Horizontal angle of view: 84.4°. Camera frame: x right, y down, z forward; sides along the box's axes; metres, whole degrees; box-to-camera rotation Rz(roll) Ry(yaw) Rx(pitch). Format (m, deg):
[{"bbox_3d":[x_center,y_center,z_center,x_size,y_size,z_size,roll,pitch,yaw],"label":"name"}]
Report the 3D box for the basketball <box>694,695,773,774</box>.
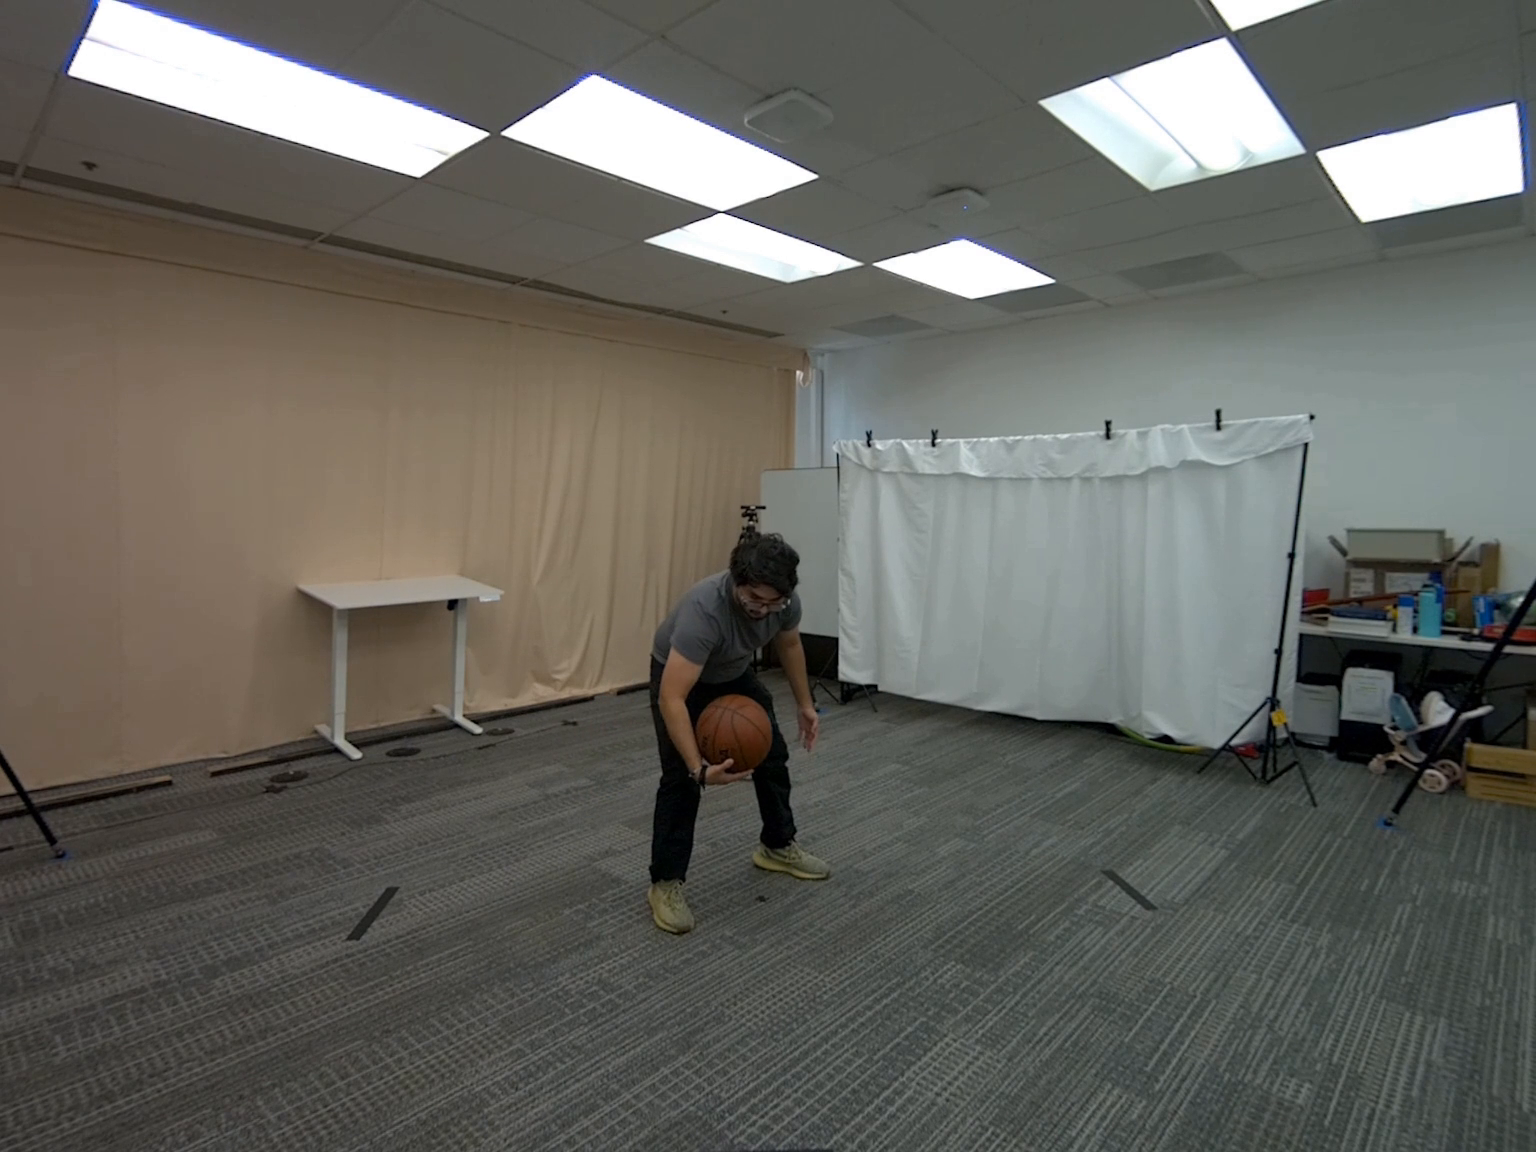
[{"bbox_3d":[-0.107,0.491,2.612,0.236,0.235,0.237,0,4,-2],"label":"basketball"}]
